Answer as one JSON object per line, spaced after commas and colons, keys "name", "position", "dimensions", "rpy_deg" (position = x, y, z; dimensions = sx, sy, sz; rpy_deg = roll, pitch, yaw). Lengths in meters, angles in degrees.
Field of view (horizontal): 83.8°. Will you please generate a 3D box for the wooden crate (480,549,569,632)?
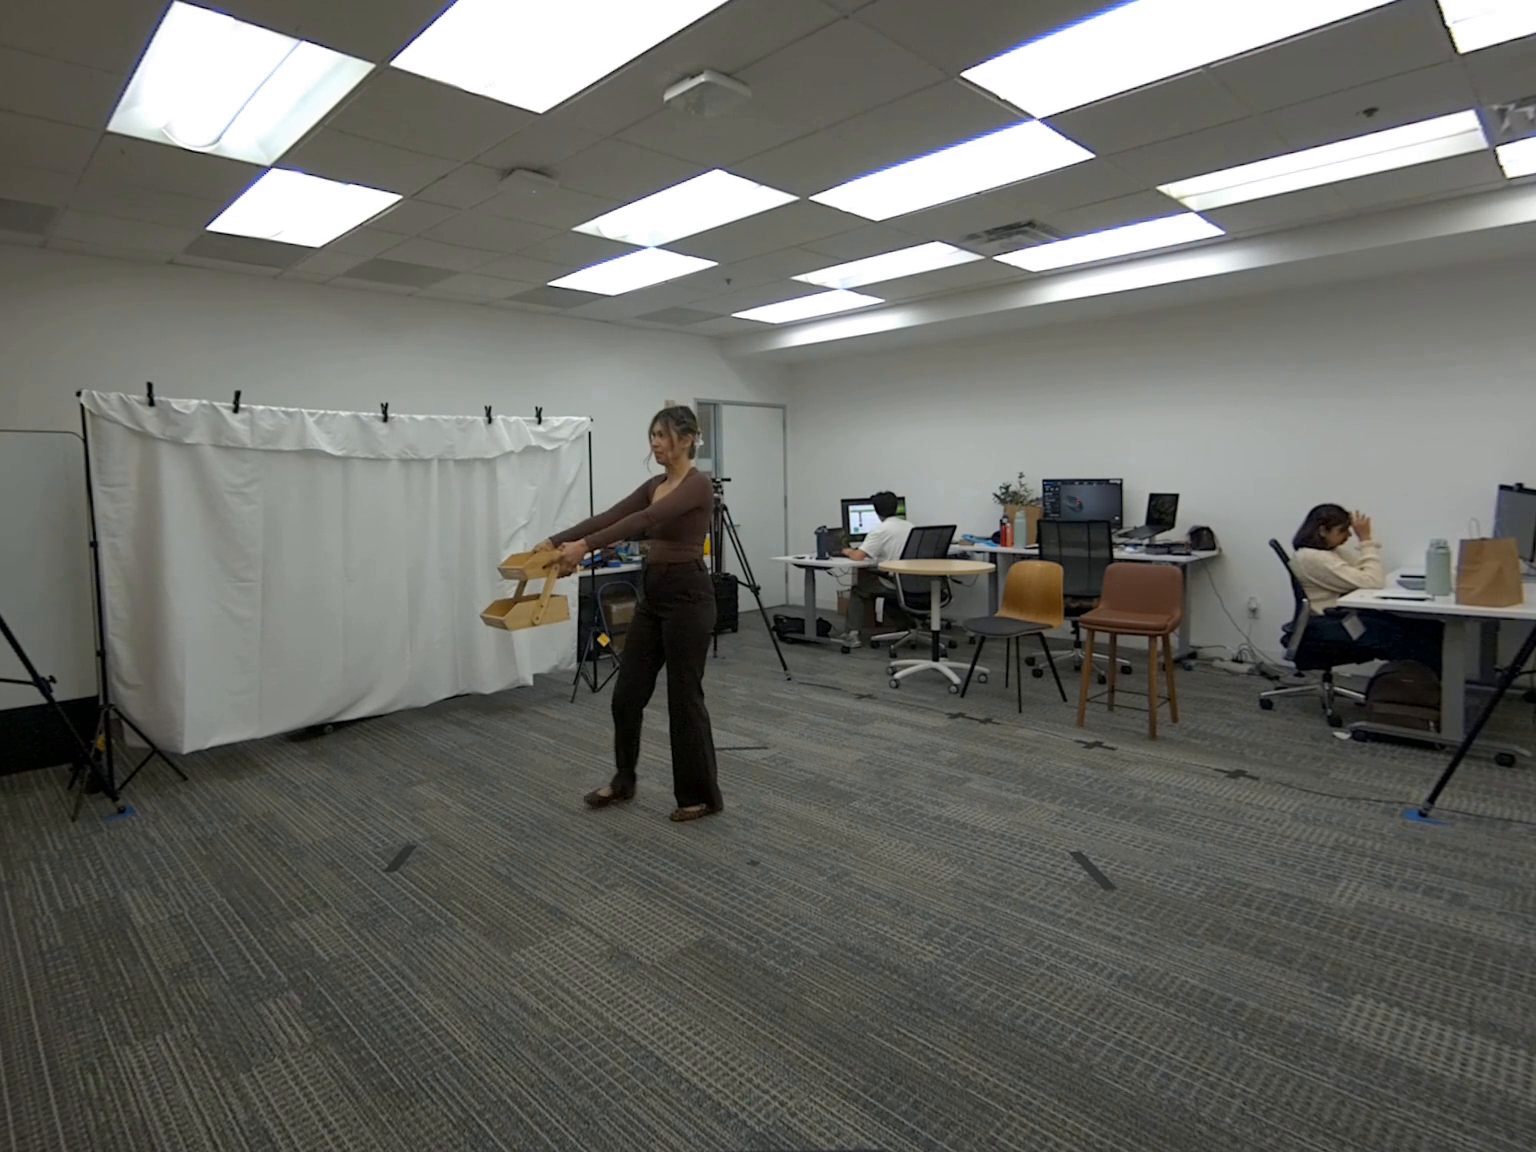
{"name": "wooden crate", "position": [-0.912, 0.045, 3.220], "dimensions": [0.295, 0.272, 0.333], "rpy_deg": [-8, 5, -32]}
